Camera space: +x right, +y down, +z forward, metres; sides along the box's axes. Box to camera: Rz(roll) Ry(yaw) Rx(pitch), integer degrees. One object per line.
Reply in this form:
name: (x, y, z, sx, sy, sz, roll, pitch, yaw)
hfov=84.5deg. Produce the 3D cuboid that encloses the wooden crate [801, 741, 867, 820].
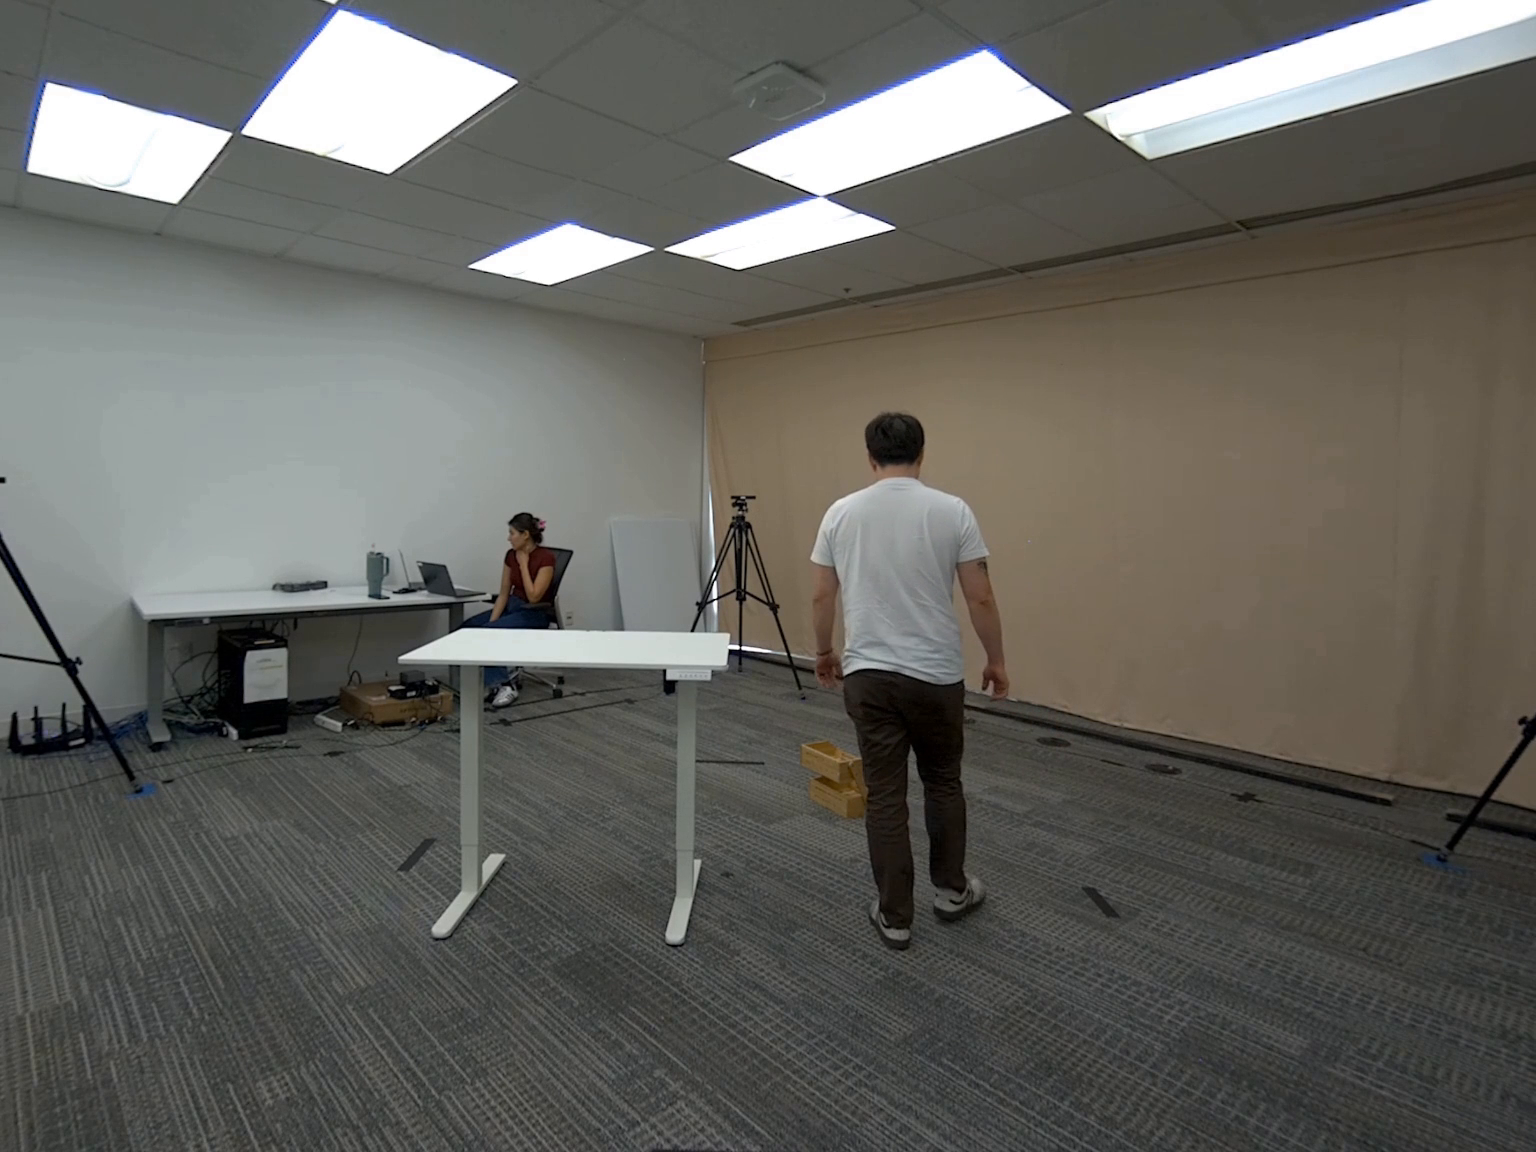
wooden crate: (0.349, 0.919, 3.861, 0.296, 0.272, 0.332, -2, 5, -31)
